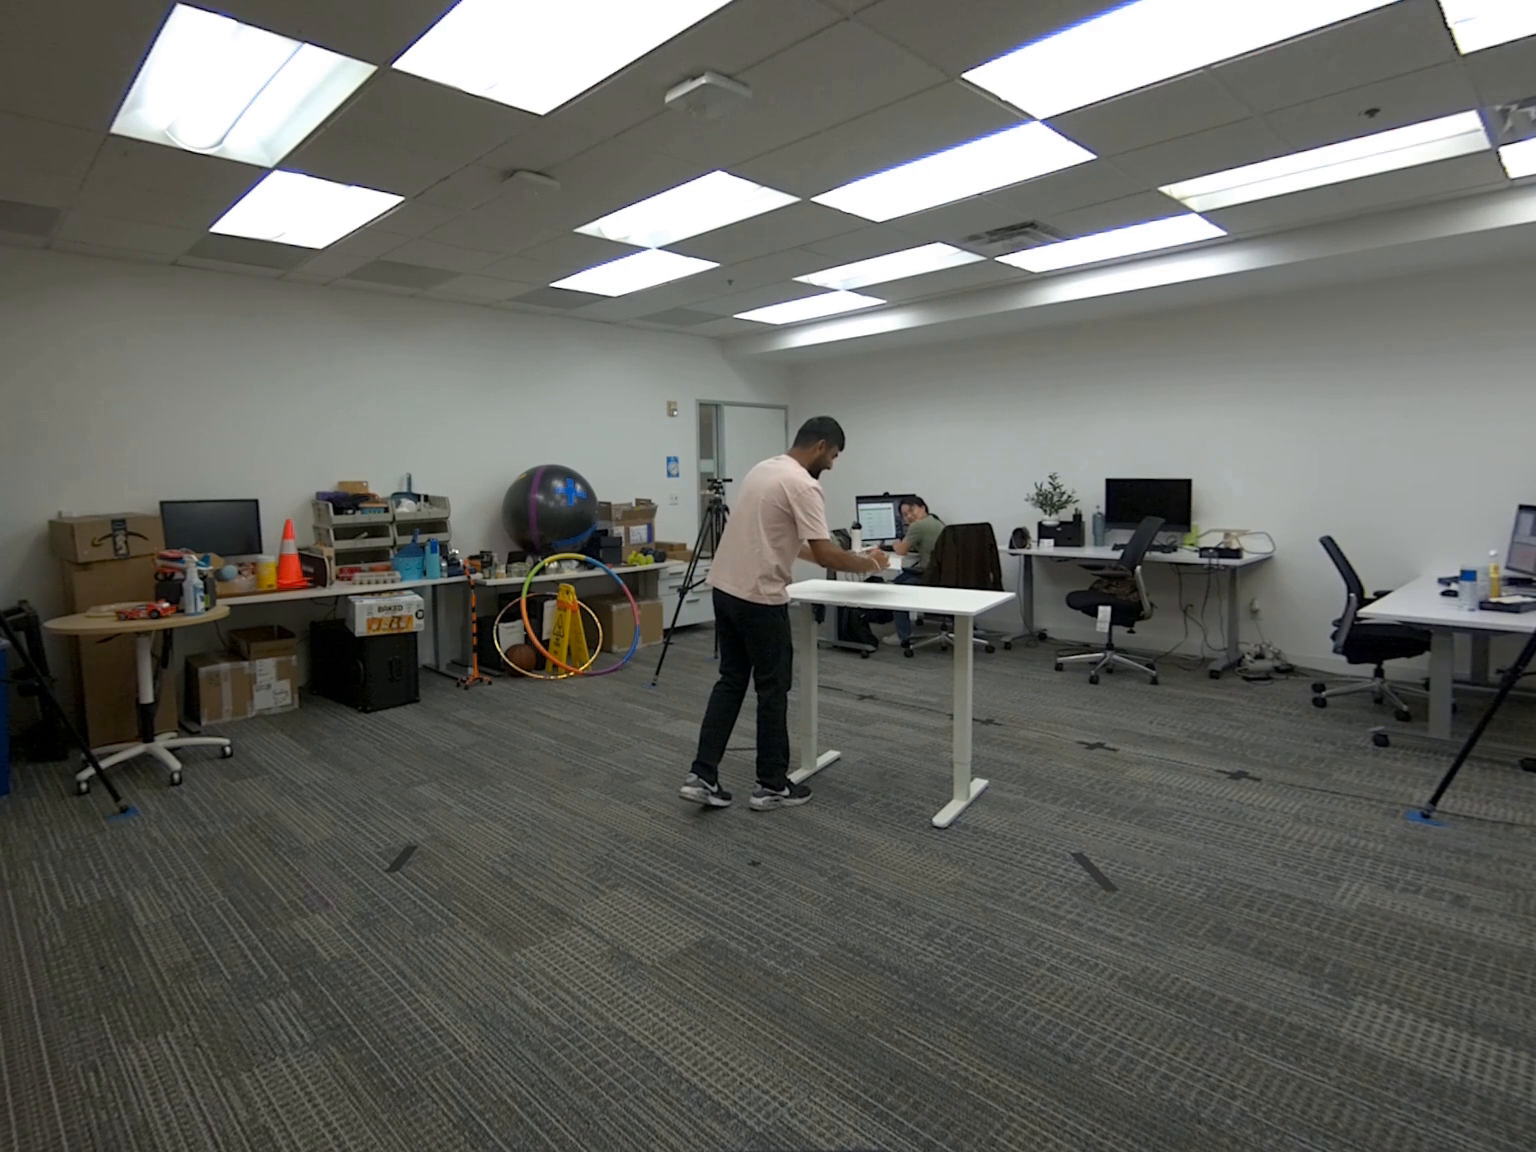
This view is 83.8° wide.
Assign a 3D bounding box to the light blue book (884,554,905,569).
[{"bbox_3d":[0.445,-0.064,3.773,0.197,0.059,0.253,0,1,43],"label":"light blue book"}]
